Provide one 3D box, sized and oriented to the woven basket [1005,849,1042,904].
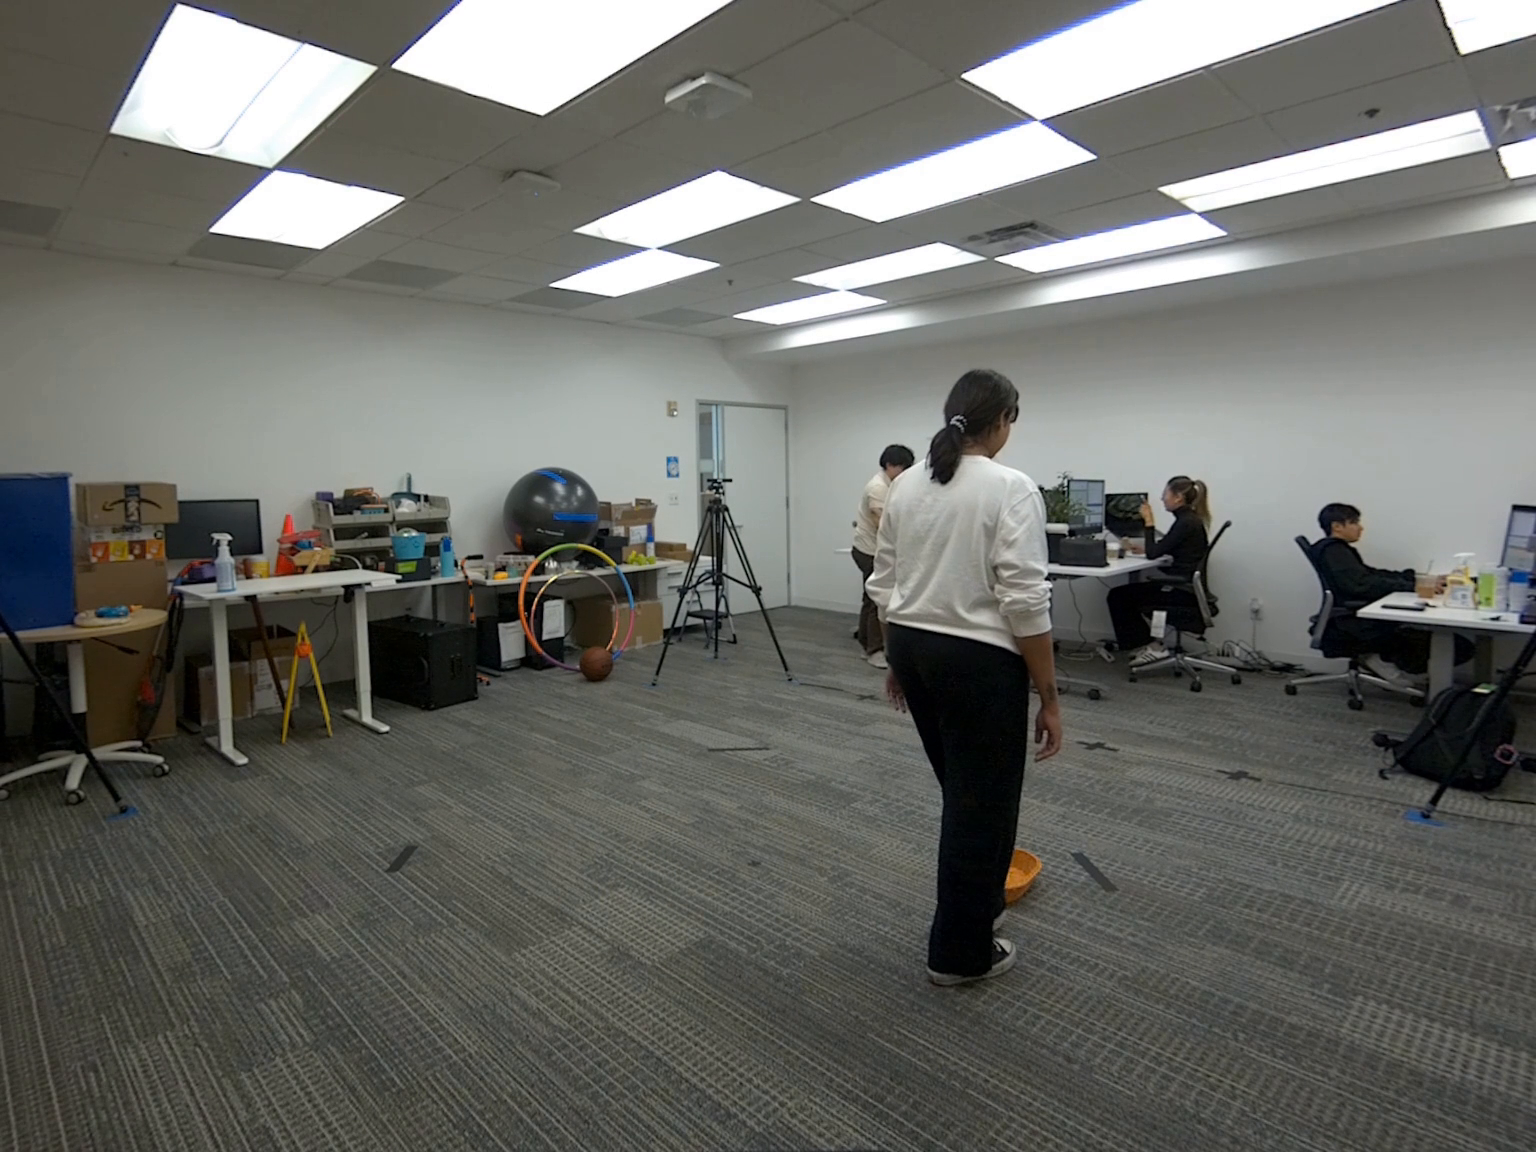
[{"bbox_3d":[0.782,1.012,2.908,0.260,0.073,0.341,3,8,40],"label":"woven basket"}]
